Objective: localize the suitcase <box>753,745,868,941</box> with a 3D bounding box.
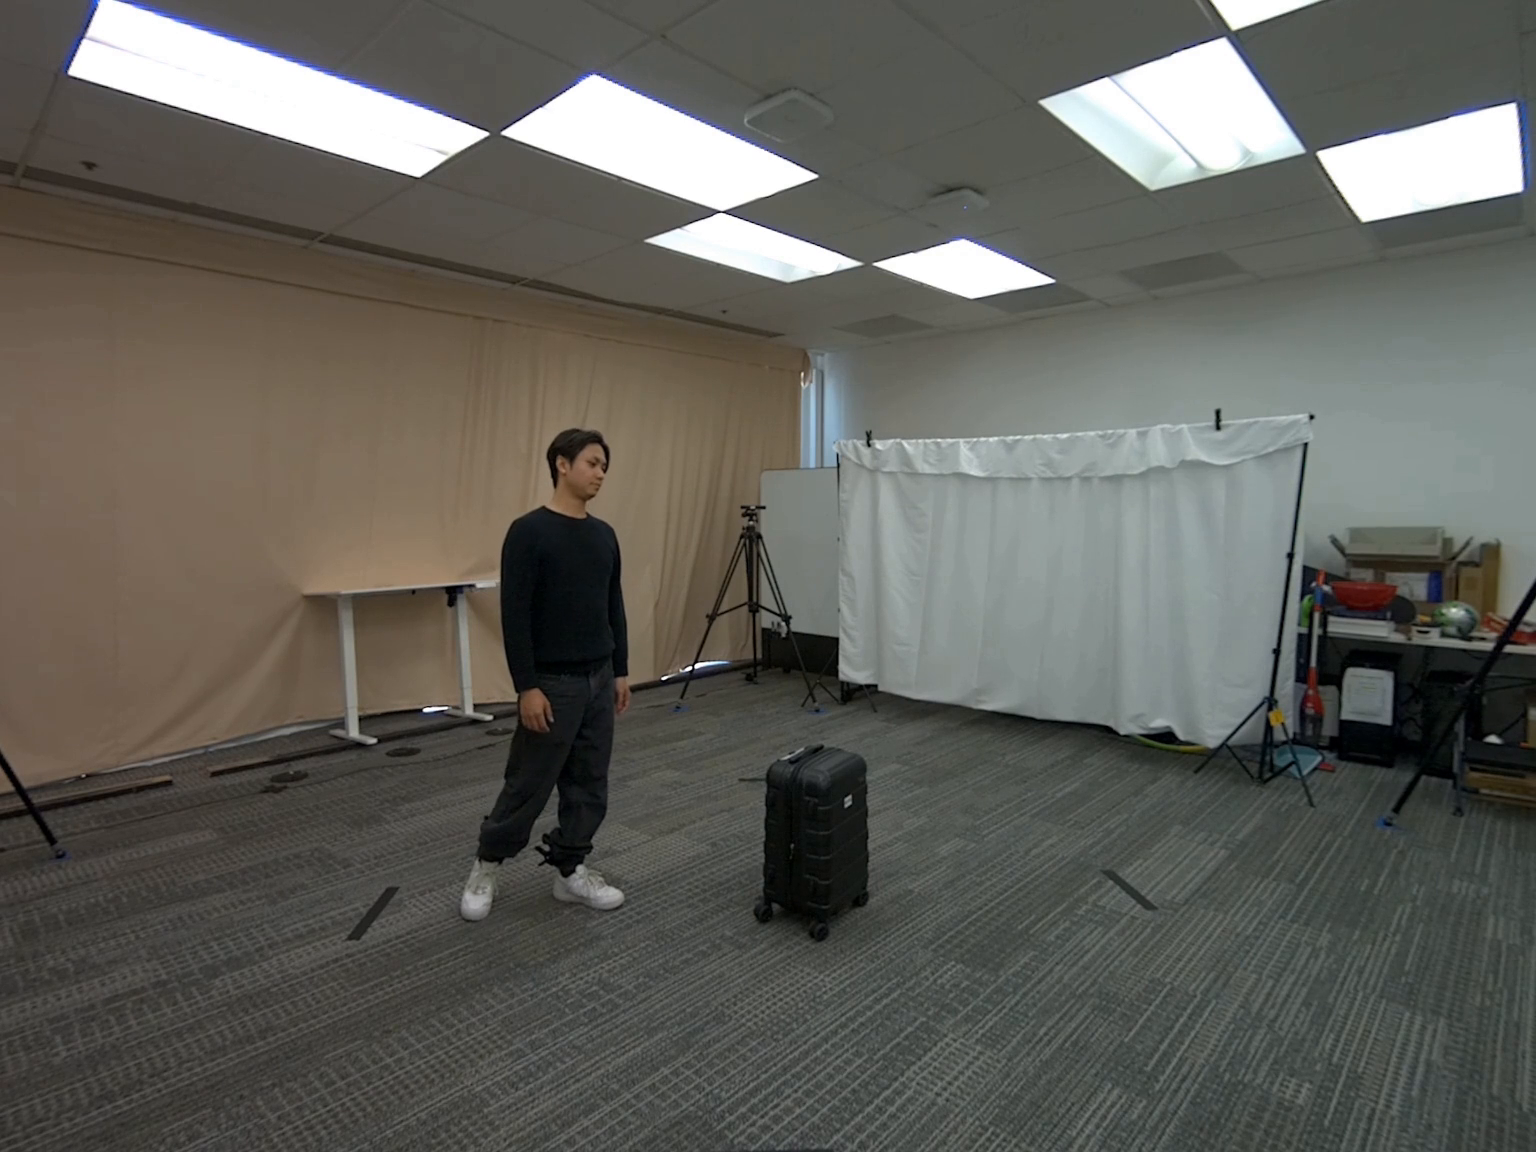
[{"bbox_3d":[0.170,0.877,2.879,0.256,0.548,0.364,3,3,34],"label":"suitcase"}]
